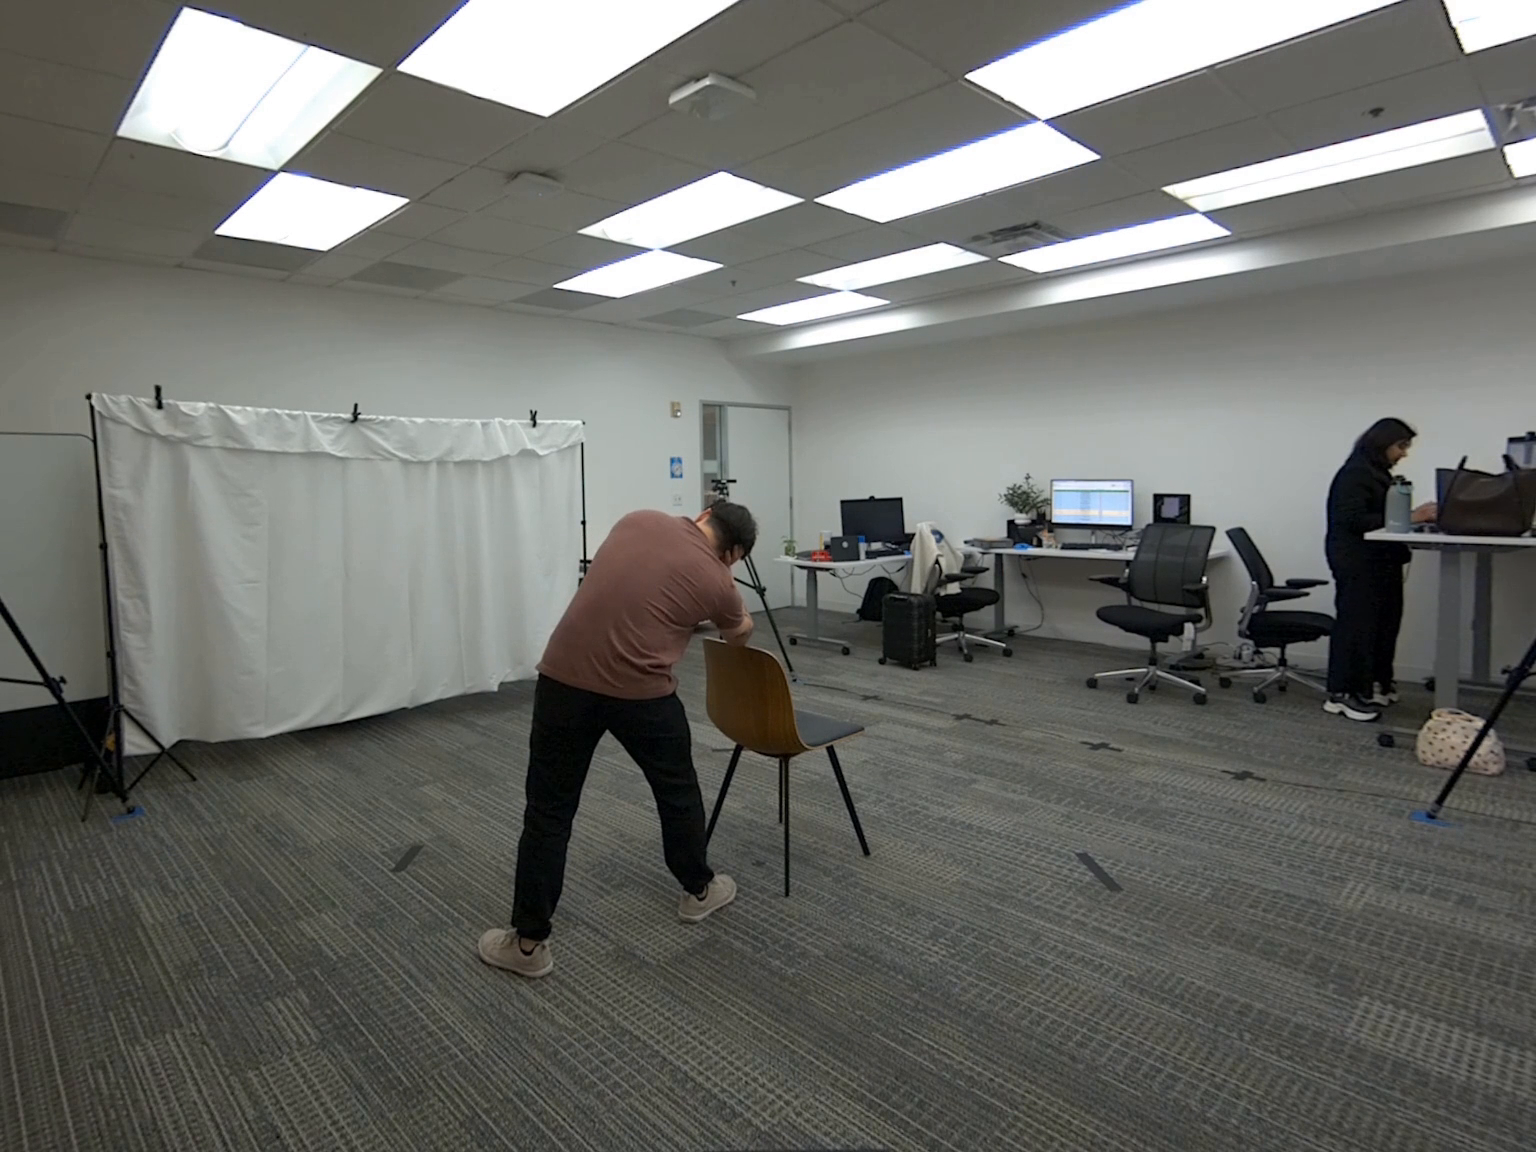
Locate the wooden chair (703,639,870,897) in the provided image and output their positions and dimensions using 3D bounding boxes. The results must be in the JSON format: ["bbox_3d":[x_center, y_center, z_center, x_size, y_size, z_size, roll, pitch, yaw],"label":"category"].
[{"bbox_3d":[0.059,0.613,3.146,0.511,0.871,0.493,-11,10,-44],"label":"wooden chair"}]
